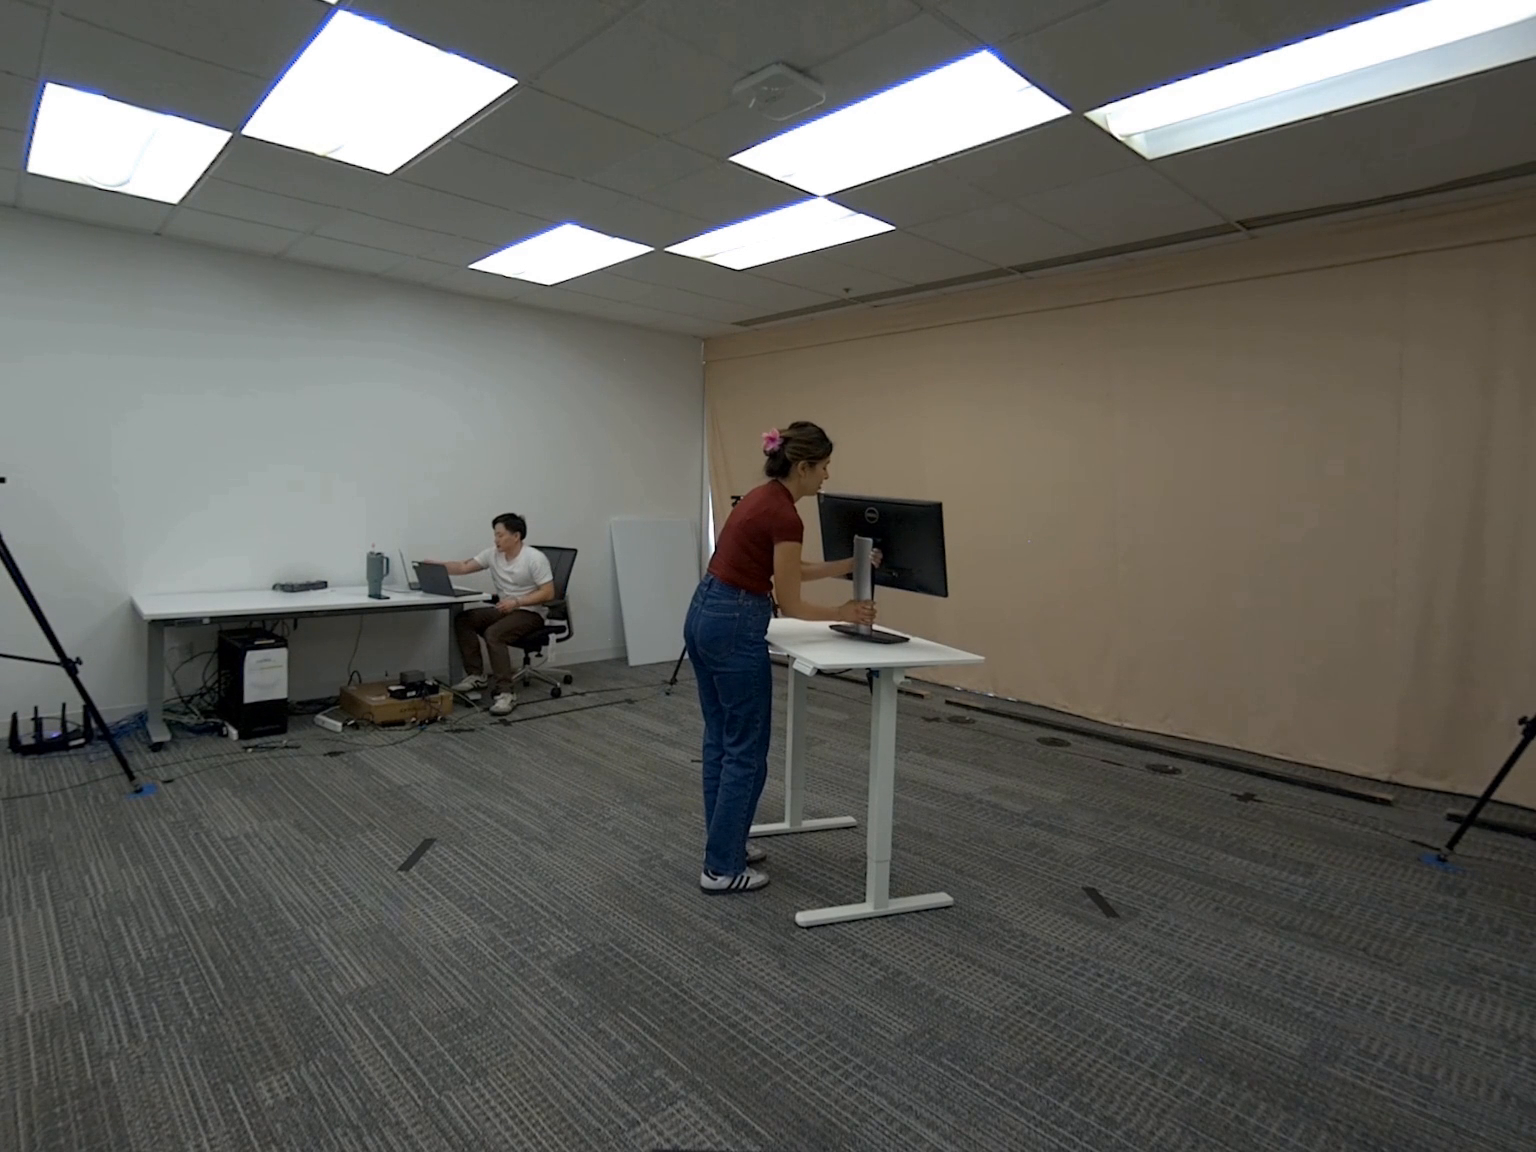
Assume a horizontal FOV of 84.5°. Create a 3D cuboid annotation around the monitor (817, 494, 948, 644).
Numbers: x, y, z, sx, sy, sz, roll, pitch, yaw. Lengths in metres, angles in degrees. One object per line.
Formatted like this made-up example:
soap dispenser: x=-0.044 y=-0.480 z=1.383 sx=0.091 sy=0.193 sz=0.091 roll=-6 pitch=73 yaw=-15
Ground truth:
monitor: x=0.378 y=-0.033 z=3.097 sx=0.553 sy=0.520 sz=0.183 roll=9 pitch=9 yaw=39
